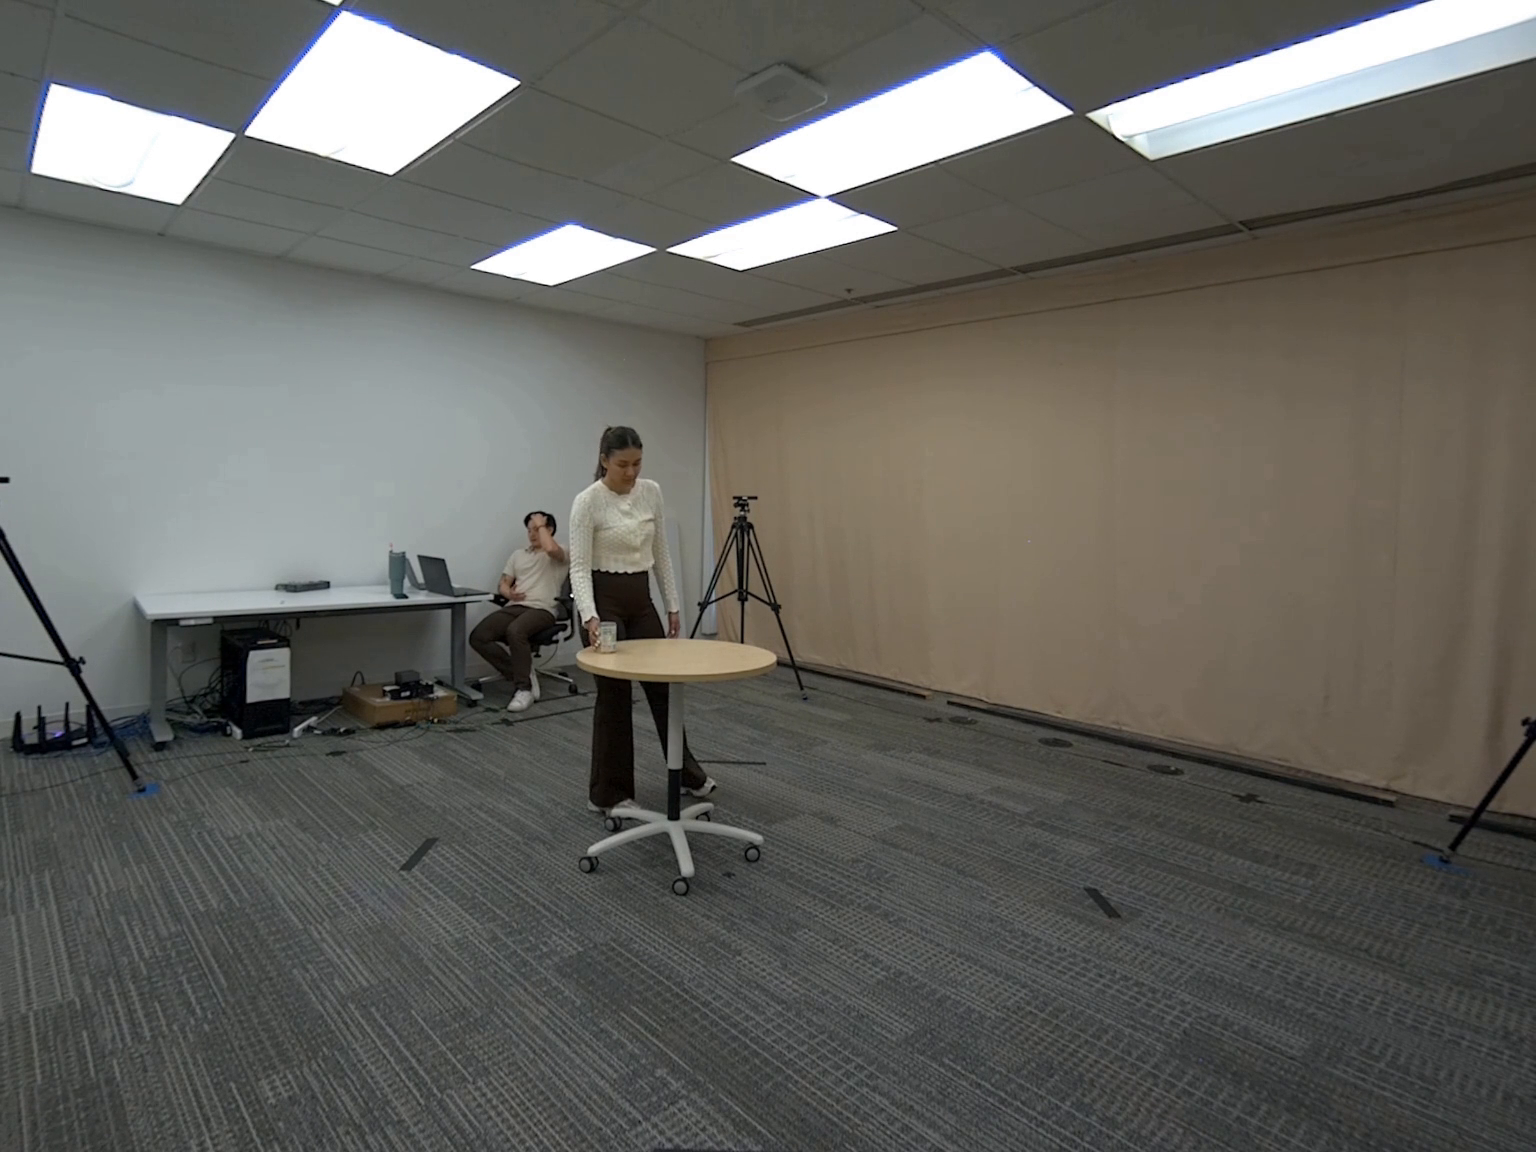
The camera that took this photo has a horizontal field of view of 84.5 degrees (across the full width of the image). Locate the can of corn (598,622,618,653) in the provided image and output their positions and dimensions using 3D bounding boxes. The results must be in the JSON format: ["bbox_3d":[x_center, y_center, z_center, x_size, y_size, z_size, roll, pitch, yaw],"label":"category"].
[{"bbox_3d":[-0.648,0.243,3.251,0.074,0.111,0.074,0,0,-1],"label":"can of corn"}]
